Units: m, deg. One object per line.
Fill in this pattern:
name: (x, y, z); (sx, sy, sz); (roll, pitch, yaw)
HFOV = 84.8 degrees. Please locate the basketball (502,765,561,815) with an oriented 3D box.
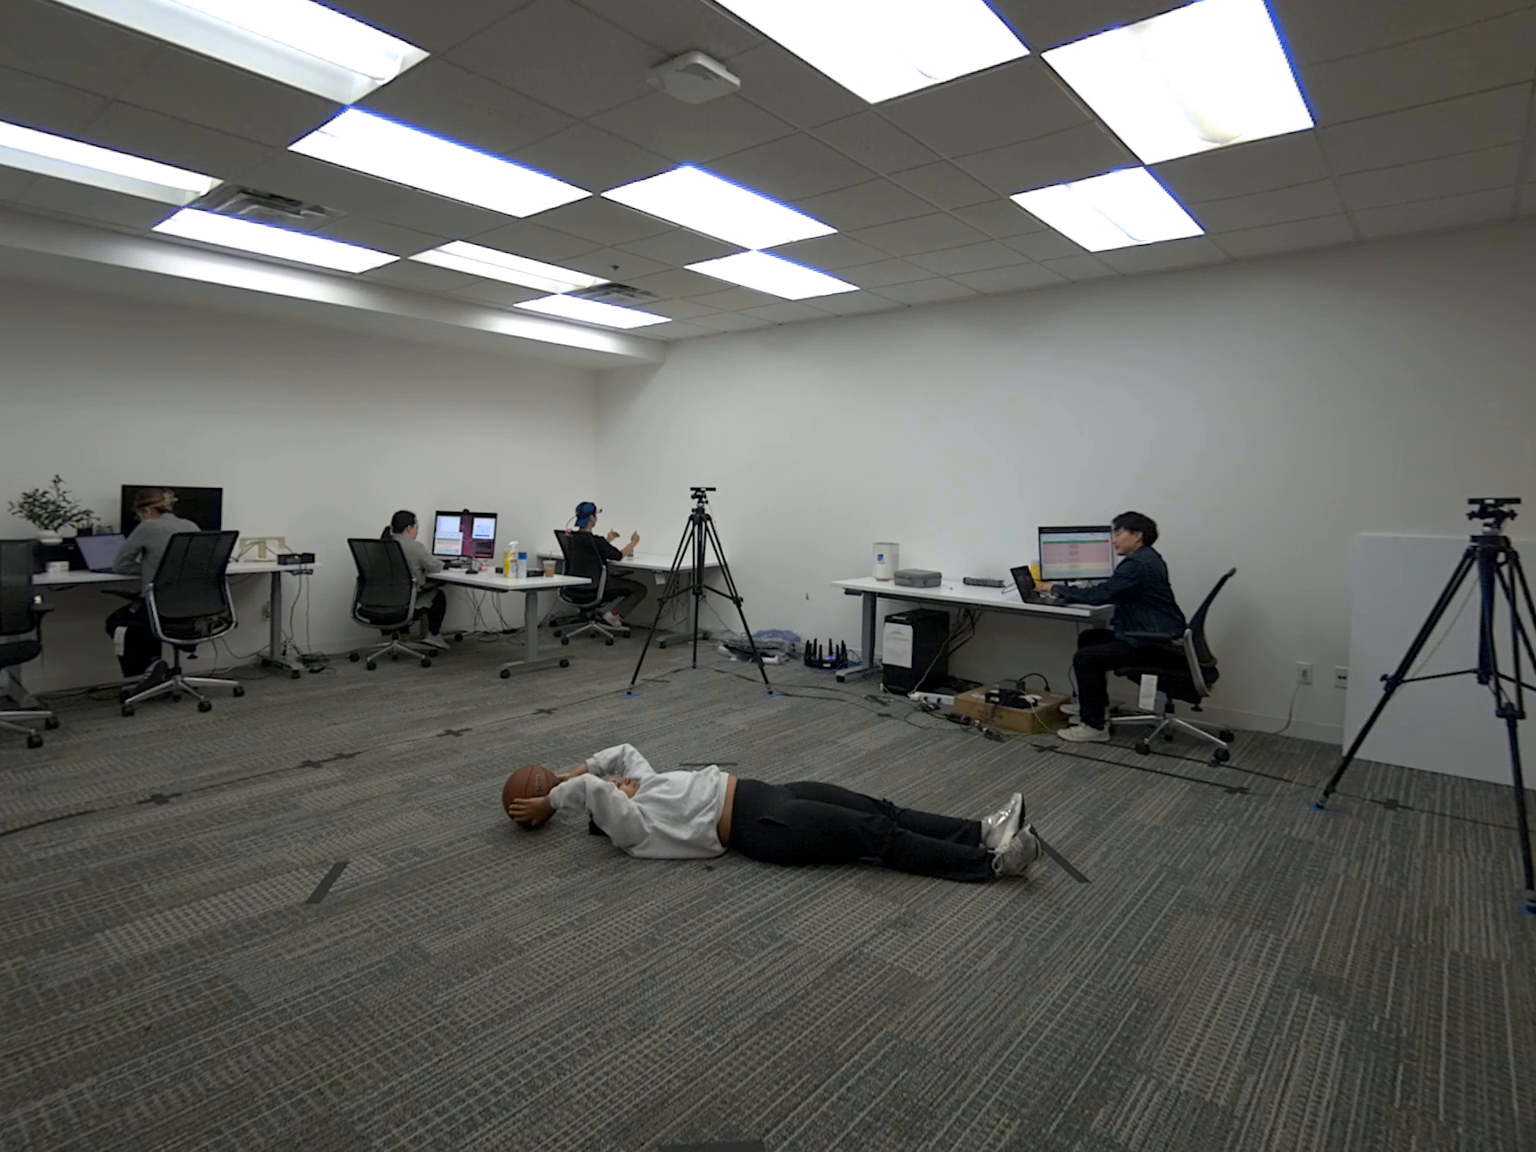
basketball: (-0.977, 0.896, 3.482); (0.236, 0.235, 0.237); (0, 4, -2)
